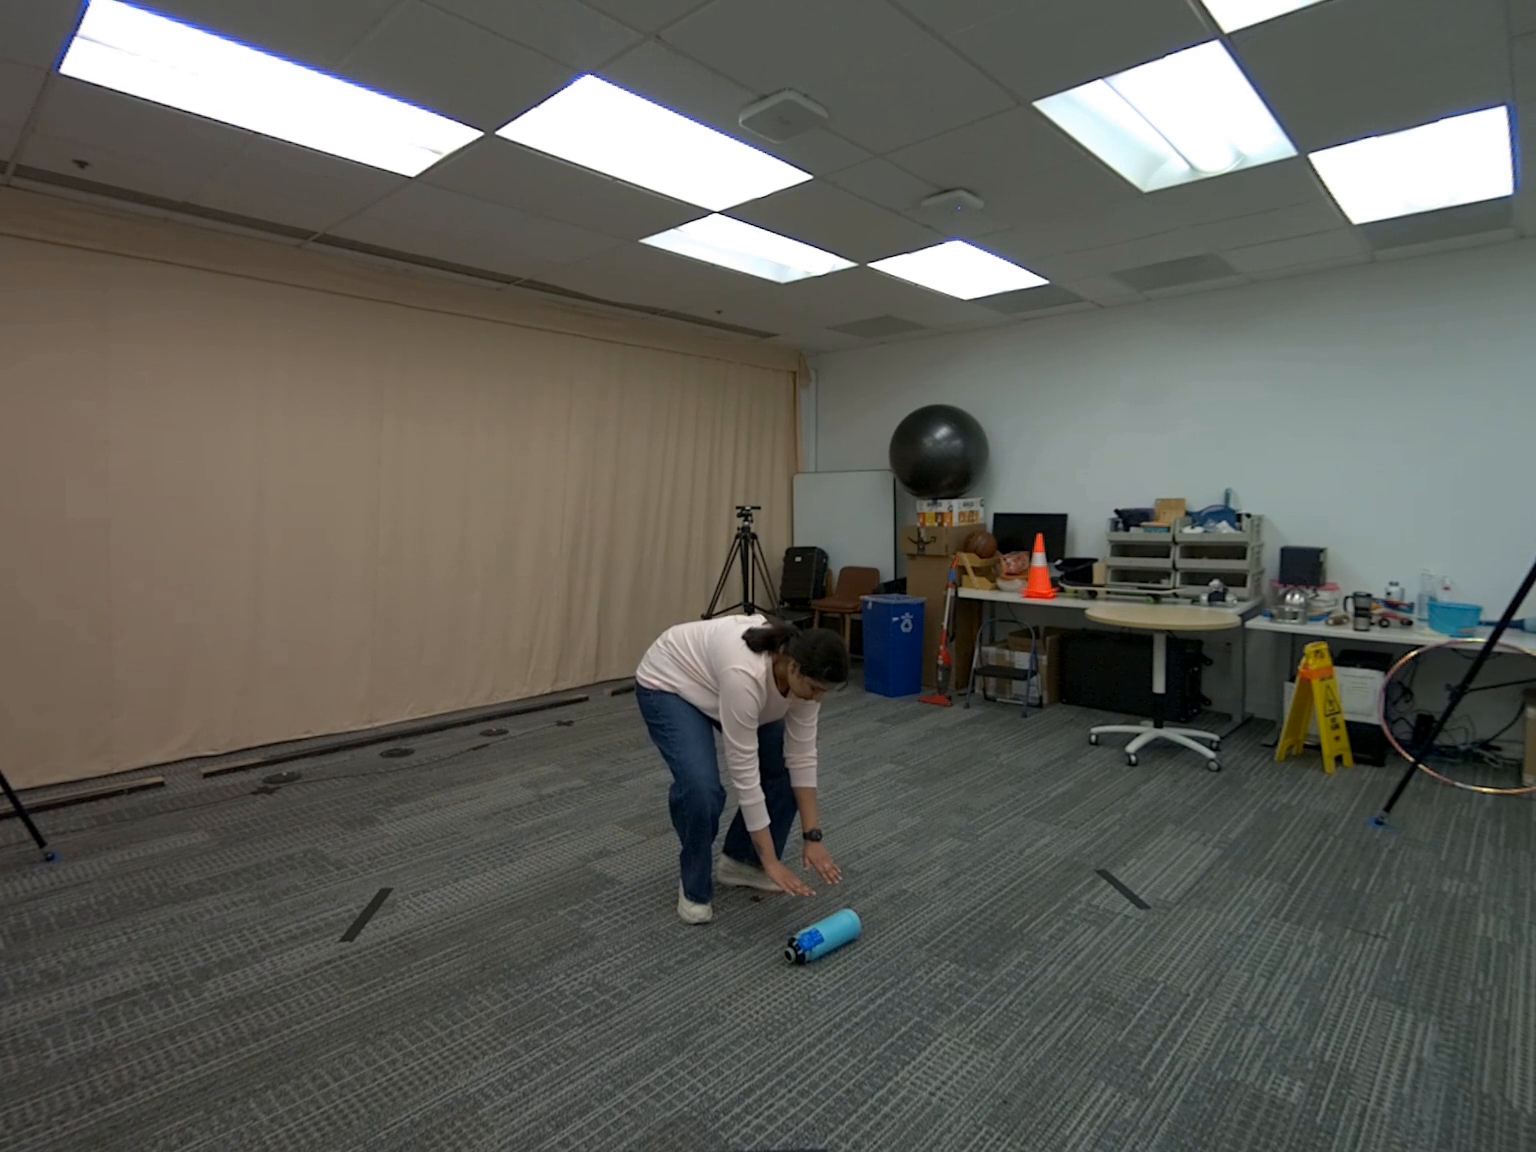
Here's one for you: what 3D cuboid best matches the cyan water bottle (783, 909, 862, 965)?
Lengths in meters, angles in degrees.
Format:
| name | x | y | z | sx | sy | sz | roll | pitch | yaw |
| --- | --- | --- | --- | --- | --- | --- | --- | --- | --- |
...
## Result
| name | x | y | z | sx | sy | sz | roll | pitch | yaw |
| --- | --- | --- | --- | --- | --- | --- | --- | --- | --- |
| cyan water bottle | 0.175 | 1.126 | 2.628 | 0.275 | 0.092 | 0.095 | -4 | 6 | -43 |
